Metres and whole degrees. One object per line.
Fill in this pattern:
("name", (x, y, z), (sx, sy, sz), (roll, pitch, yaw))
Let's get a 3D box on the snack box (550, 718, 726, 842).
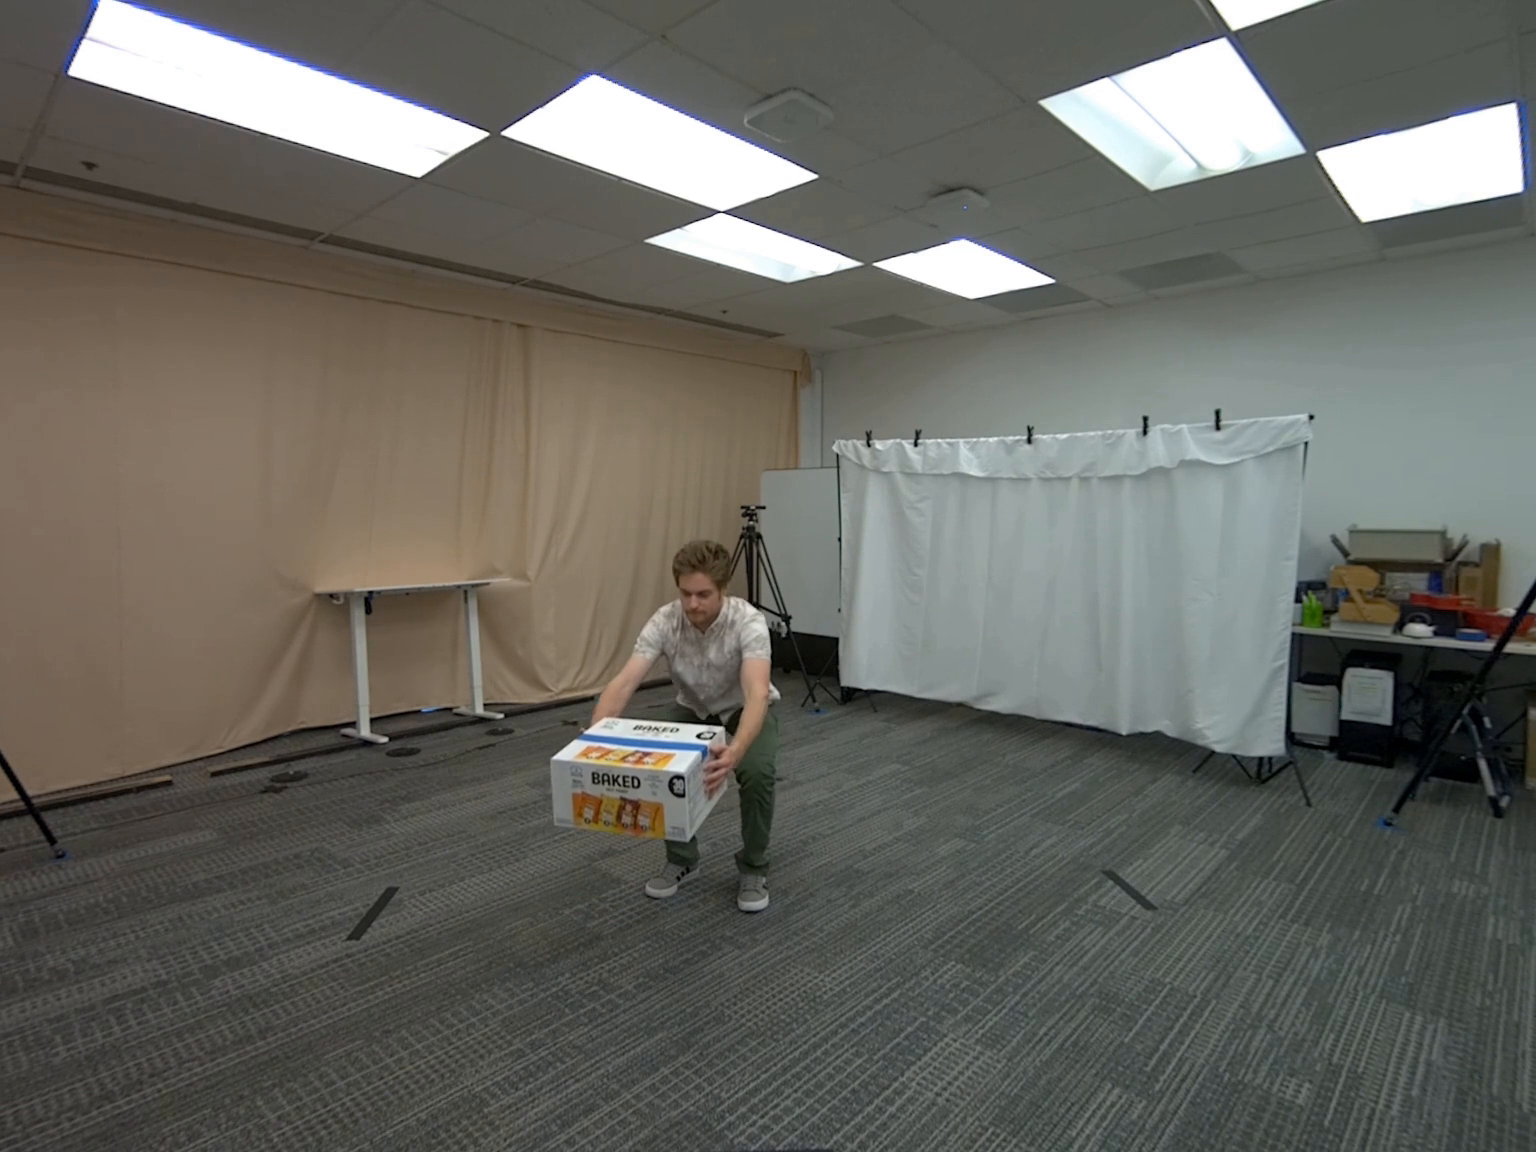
("snack box", (-0.365, 0.579, 2.457), (0.413, 0.204, 0.336), (1, 10, 17))
